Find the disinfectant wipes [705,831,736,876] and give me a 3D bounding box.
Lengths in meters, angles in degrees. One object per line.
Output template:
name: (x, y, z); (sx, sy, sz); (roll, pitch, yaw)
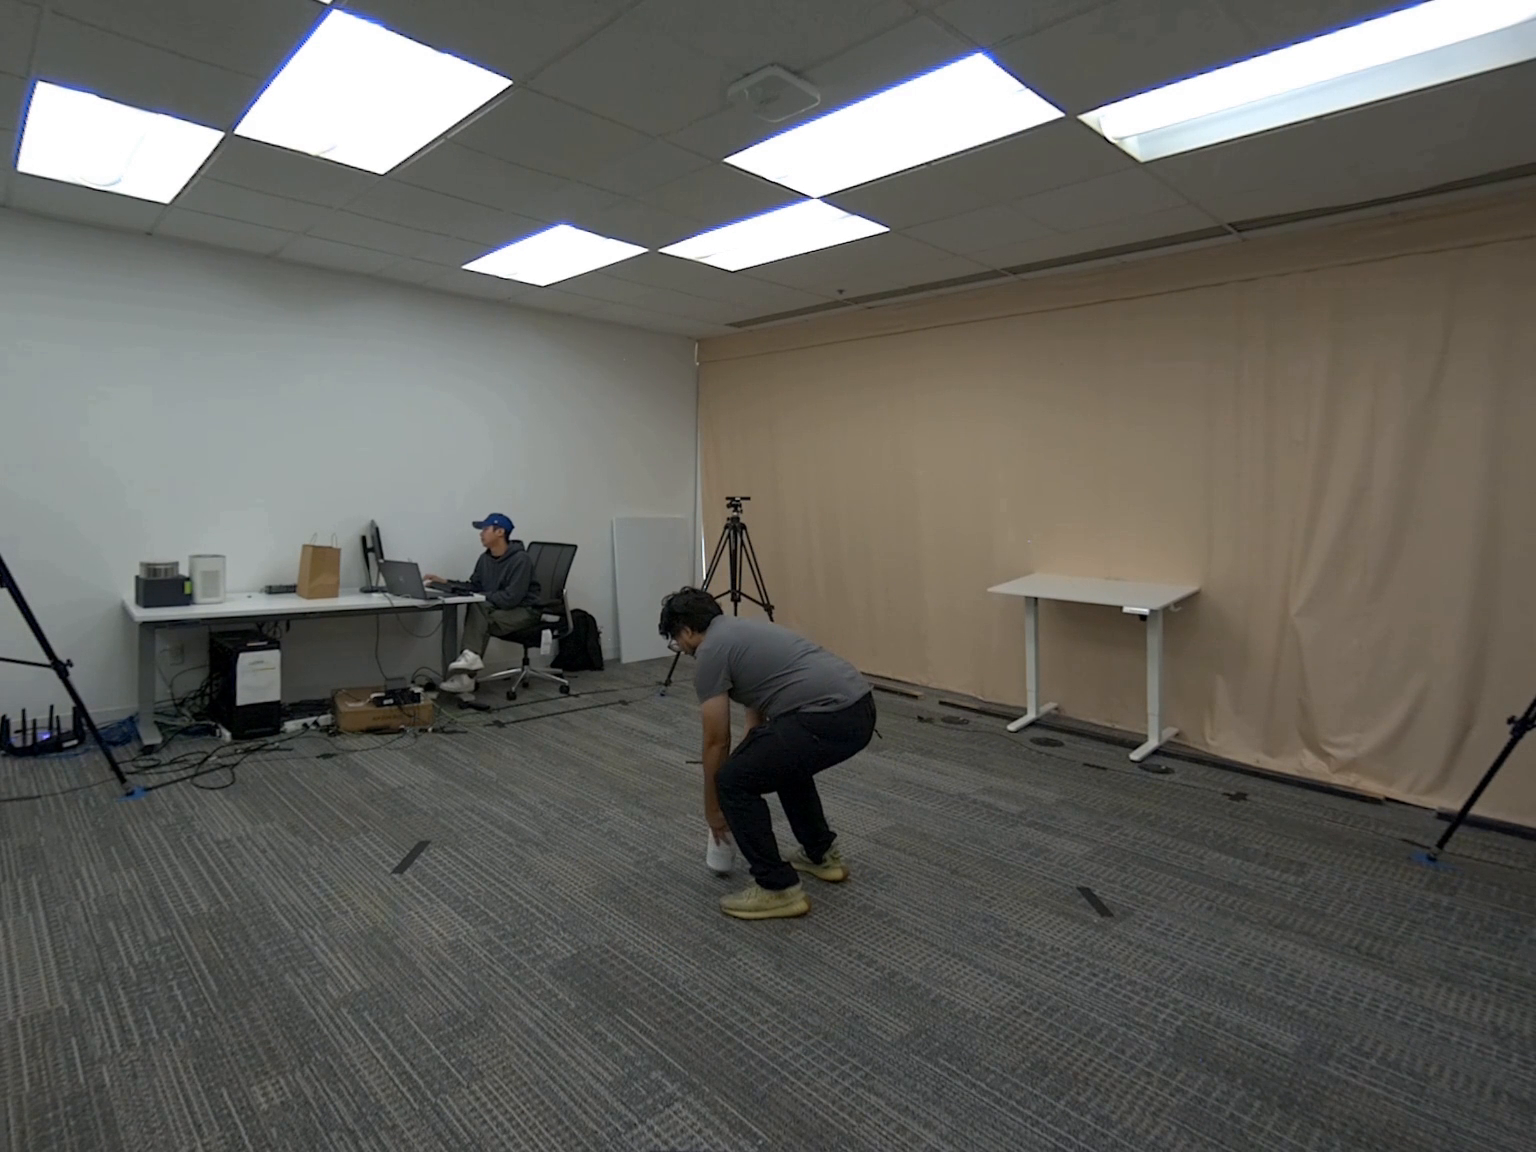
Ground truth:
disinfectant wipes: (-0.182, 0.964, 3.097); (0.118, 0.216, 0.118); (2, 8, -2)
